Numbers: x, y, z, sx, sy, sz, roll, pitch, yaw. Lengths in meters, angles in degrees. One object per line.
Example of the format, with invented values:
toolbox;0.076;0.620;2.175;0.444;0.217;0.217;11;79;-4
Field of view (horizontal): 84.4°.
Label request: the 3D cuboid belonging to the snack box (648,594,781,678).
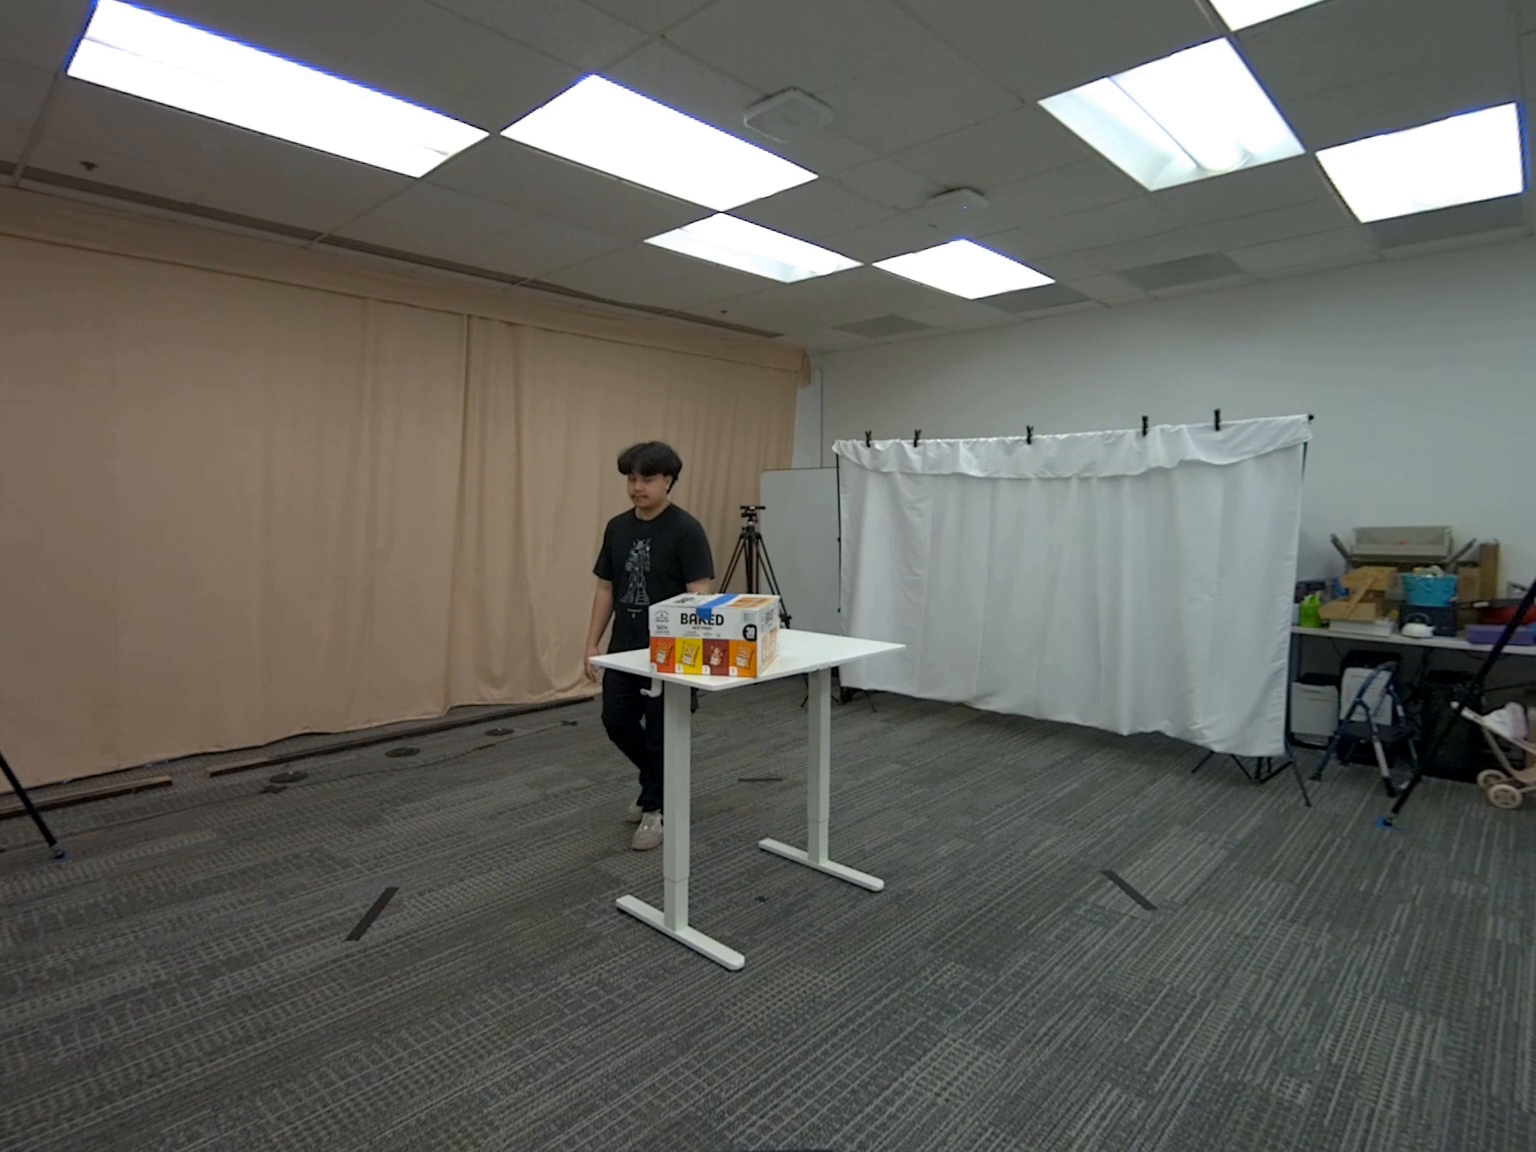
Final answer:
snack box;-0.157;0.180;2.717;0.345;0.205;0.400;1;4;12
